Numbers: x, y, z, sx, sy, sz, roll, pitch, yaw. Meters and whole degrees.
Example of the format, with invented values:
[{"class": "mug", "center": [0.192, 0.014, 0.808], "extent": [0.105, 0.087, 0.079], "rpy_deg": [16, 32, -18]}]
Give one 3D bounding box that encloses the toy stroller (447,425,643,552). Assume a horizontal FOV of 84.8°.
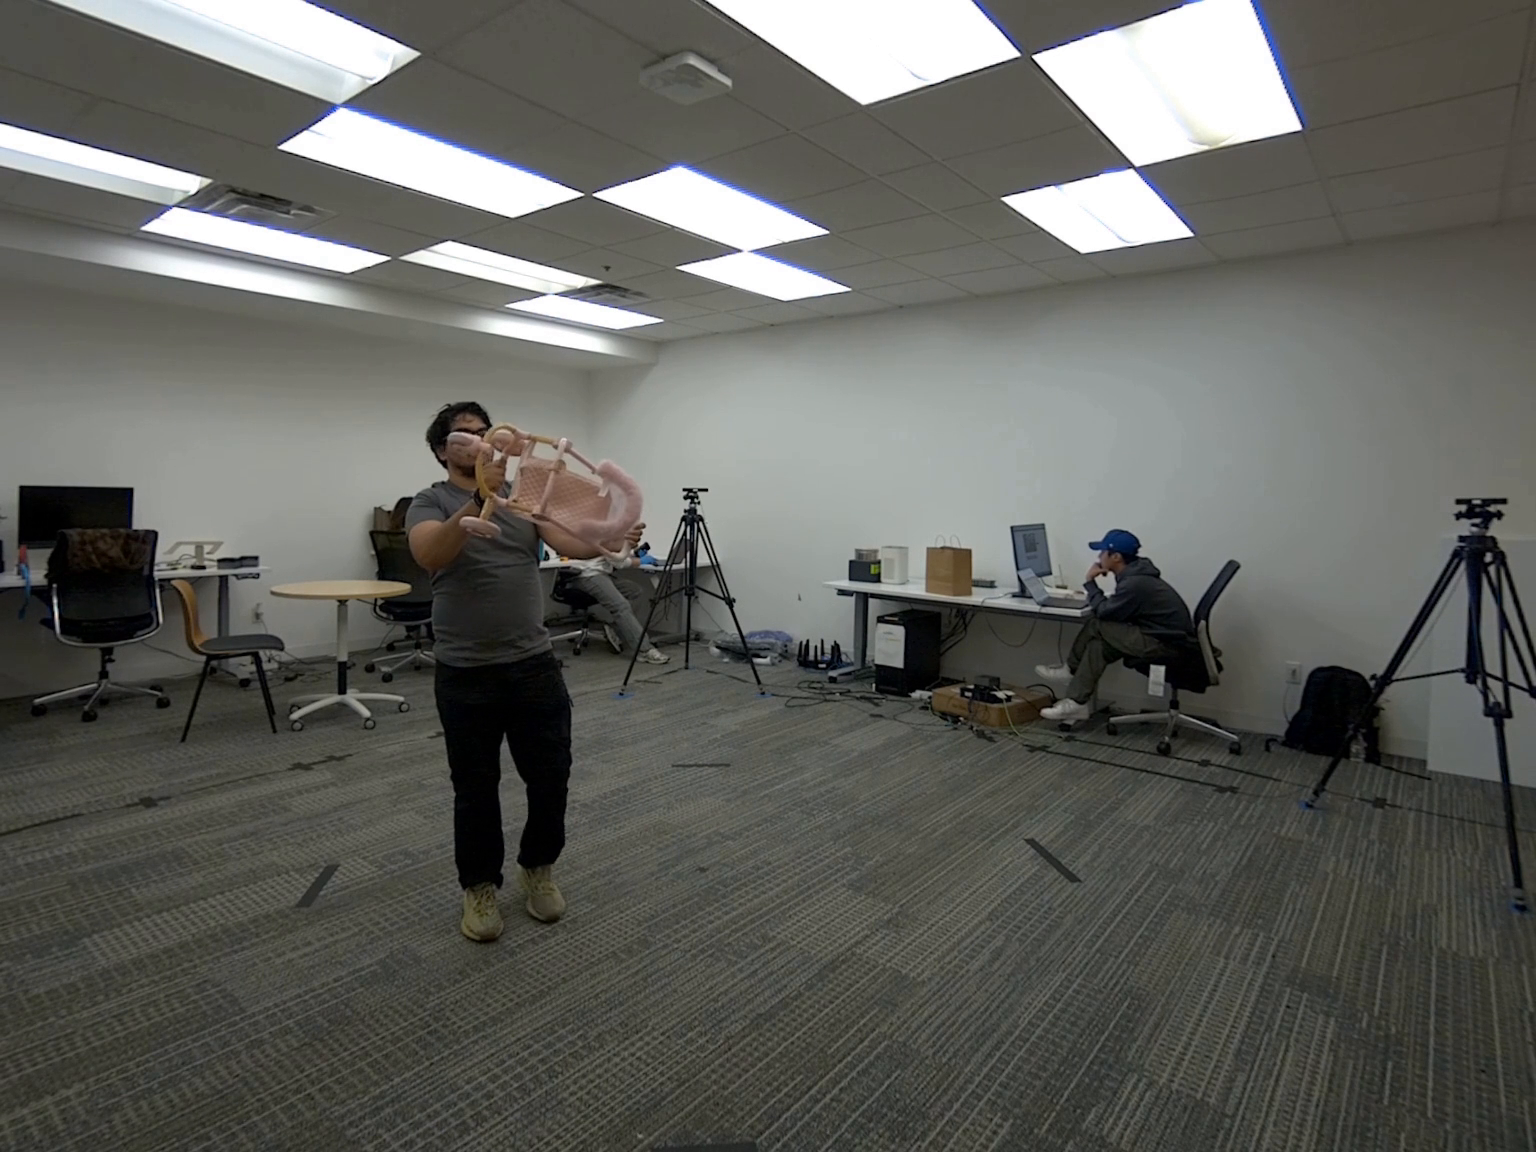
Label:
[{"class": "toy stroller", "center": [-0.565, -0.230, 2.210], "extent": [0.528, 0.285, 0.341], "rpy_deg": [17, -22, -11]}]
